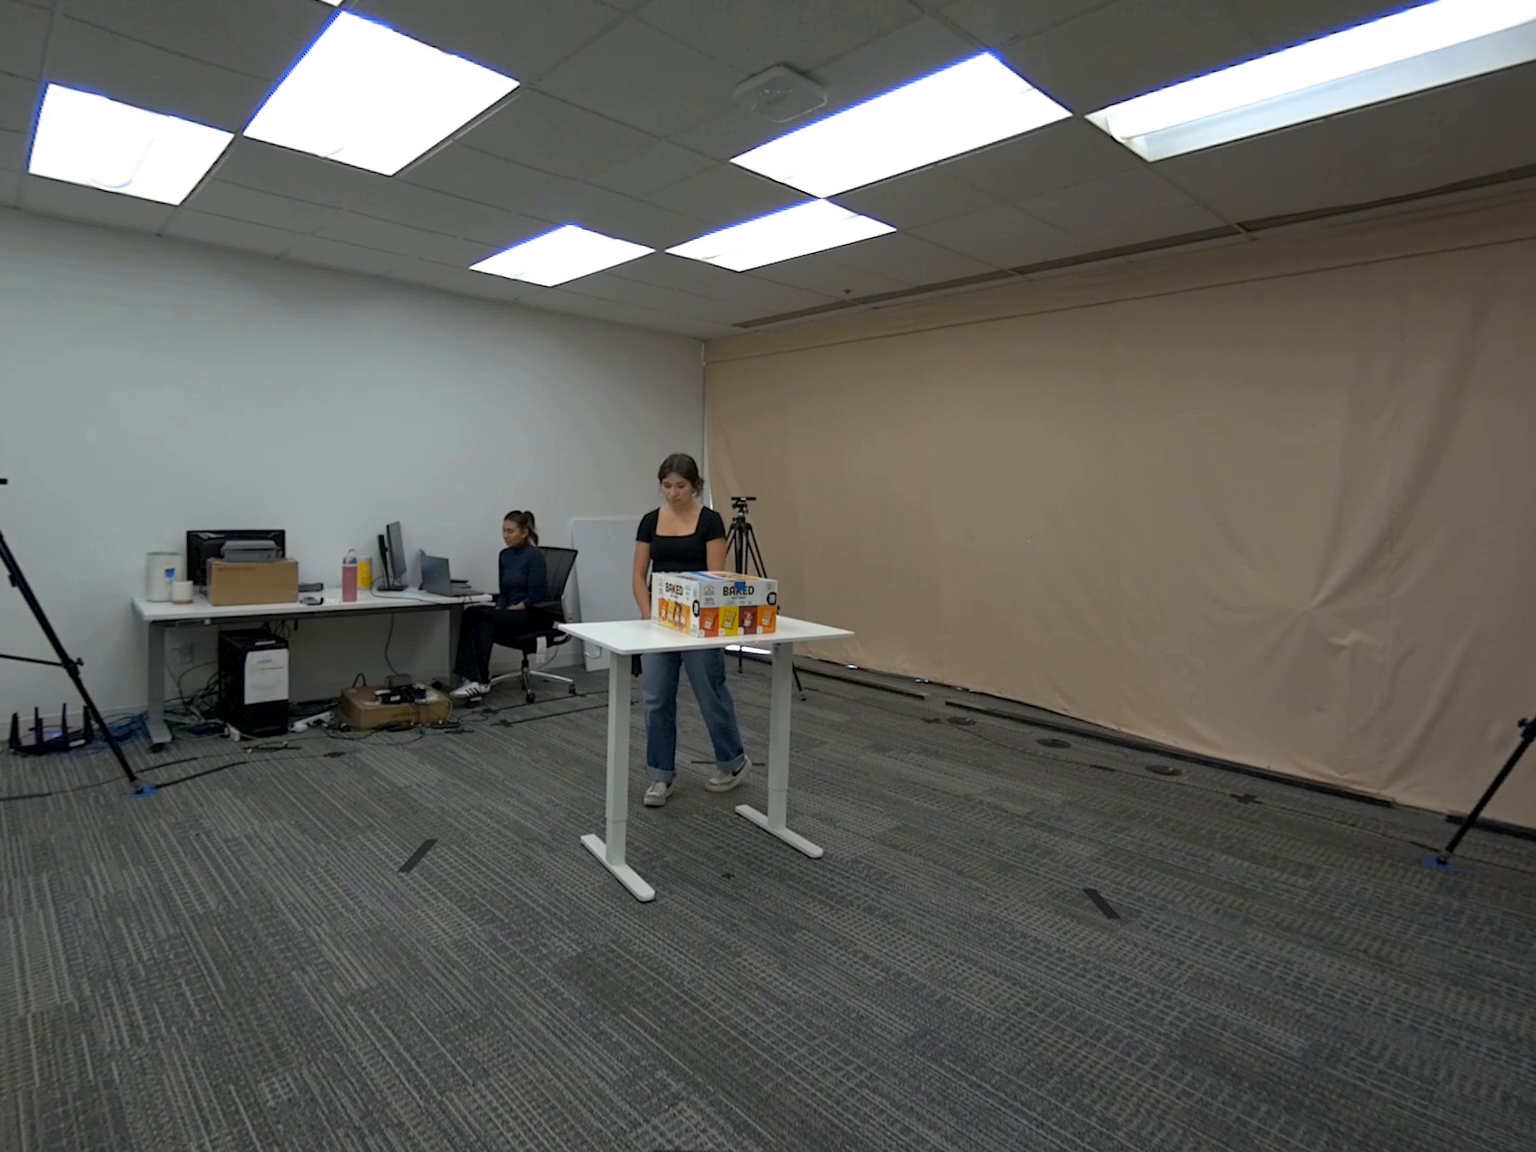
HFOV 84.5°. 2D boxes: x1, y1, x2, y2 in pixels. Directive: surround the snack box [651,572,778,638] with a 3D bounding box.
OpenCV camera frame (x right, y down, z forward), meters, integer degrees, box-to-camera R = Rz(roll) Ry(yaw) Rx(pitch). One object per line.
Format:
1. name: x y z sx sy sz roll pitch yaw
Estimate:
1. snack box: -0.226 0.103 3.313 0.333 0.205 0.415 -1 5 -32
